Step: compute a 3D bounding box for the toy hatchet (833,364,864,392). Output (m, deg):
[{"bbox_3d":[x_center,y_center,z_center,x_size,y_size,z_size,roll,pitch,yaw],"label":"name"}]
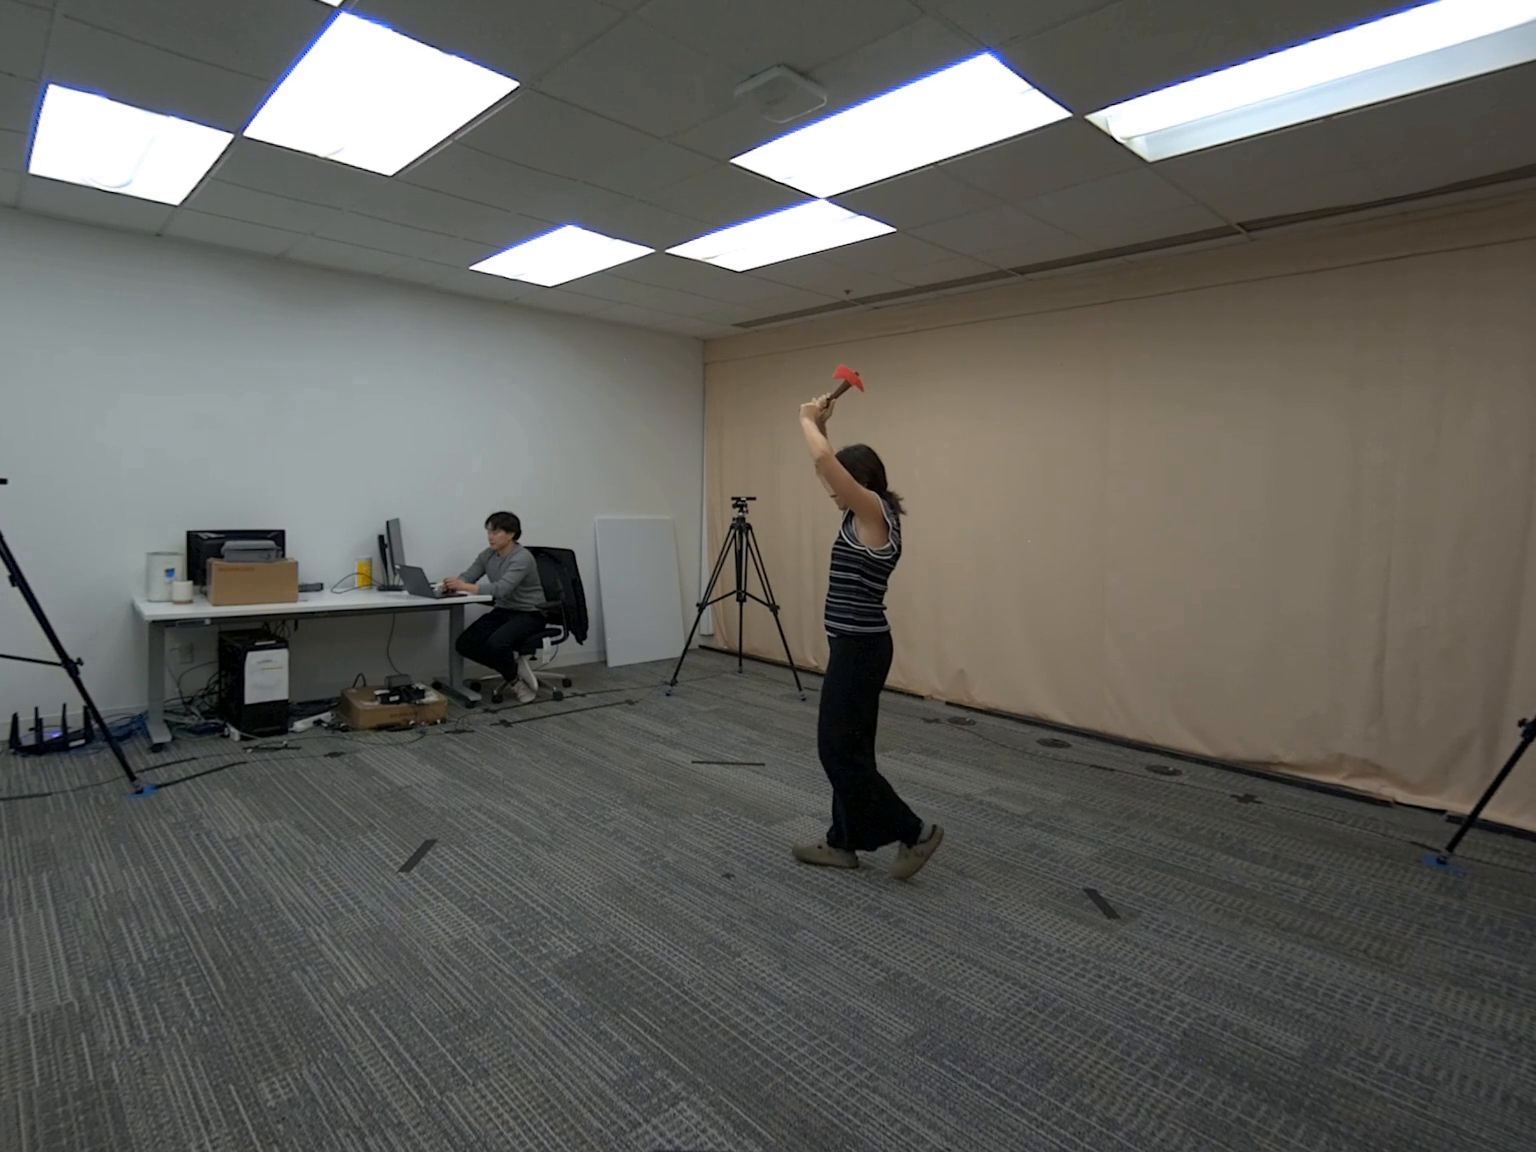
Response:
[{"bbox_3d":[0.217,-0.700,3.140,0.269,0.130,0.030,-27,7,-12],"label":"toy hatchet"}]
